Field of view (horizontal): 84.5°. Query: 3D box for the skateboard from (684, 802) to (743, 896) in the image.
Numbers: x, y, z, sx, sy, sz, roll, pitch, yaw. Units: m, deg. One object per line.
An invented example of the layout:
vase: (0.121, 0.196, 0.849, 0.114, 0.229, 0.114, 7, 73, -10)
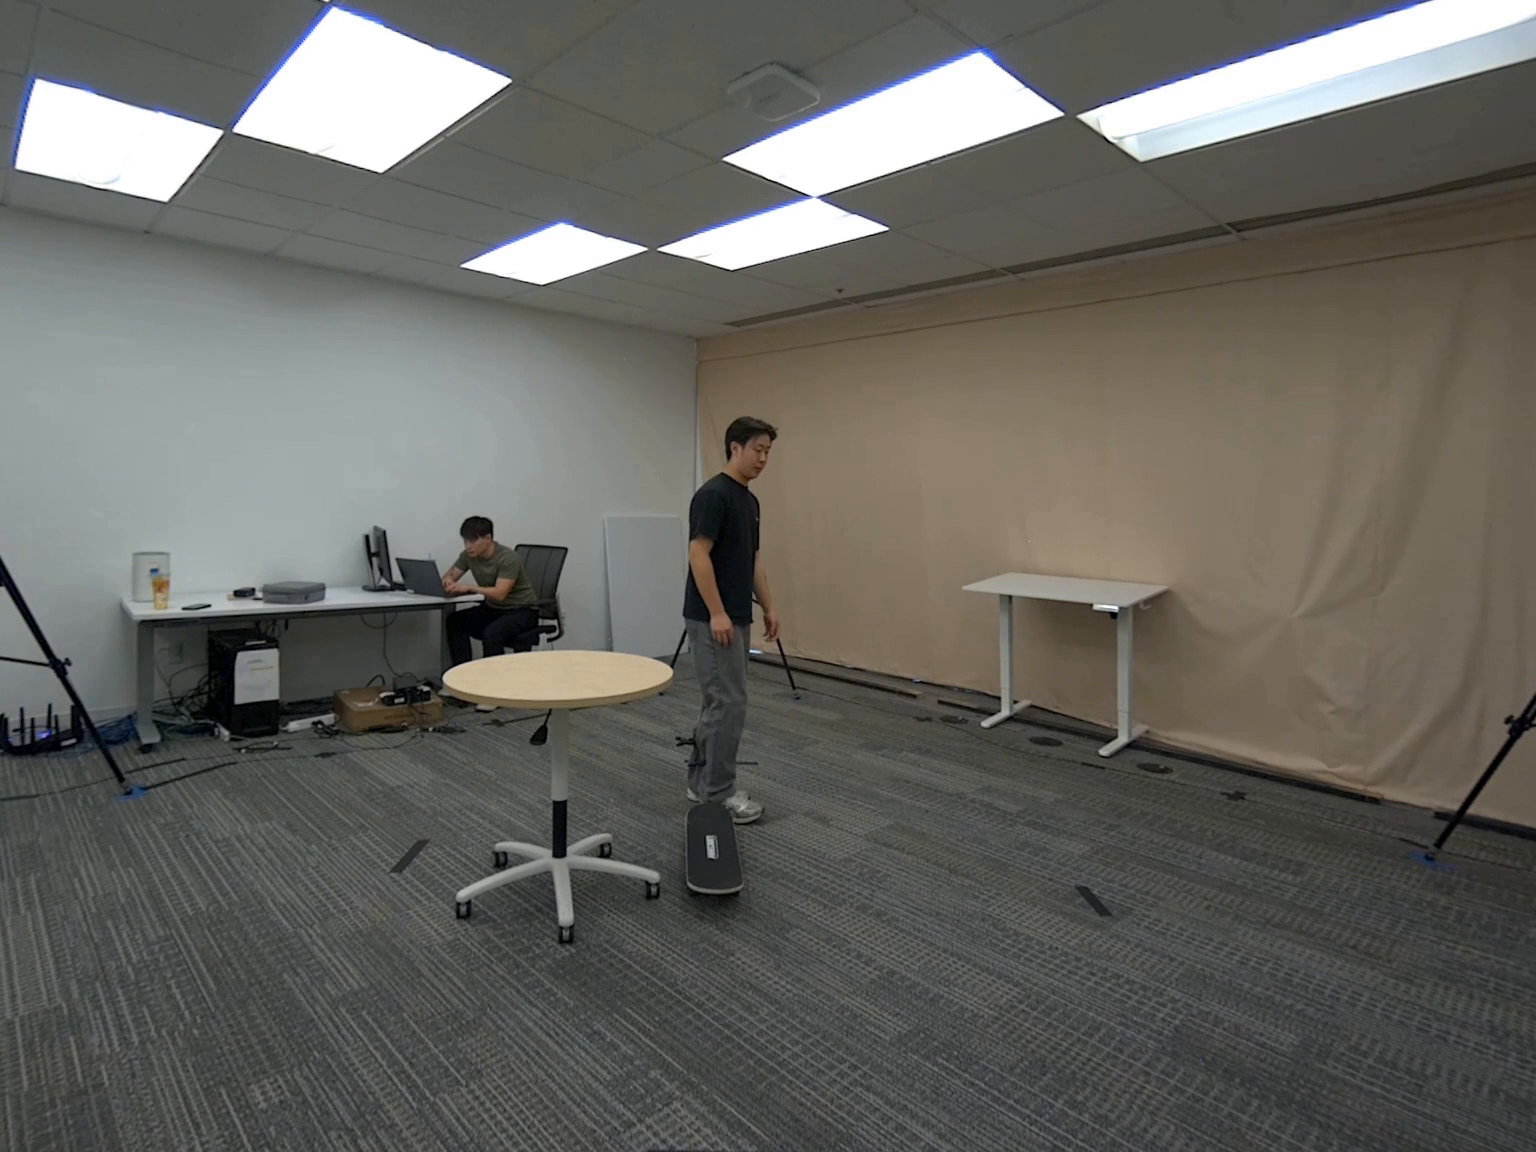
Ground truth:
skateboard: (-0.222, 1.045, 3.143, 0.192, 0.110, 0.792, 0, 6, -7)
